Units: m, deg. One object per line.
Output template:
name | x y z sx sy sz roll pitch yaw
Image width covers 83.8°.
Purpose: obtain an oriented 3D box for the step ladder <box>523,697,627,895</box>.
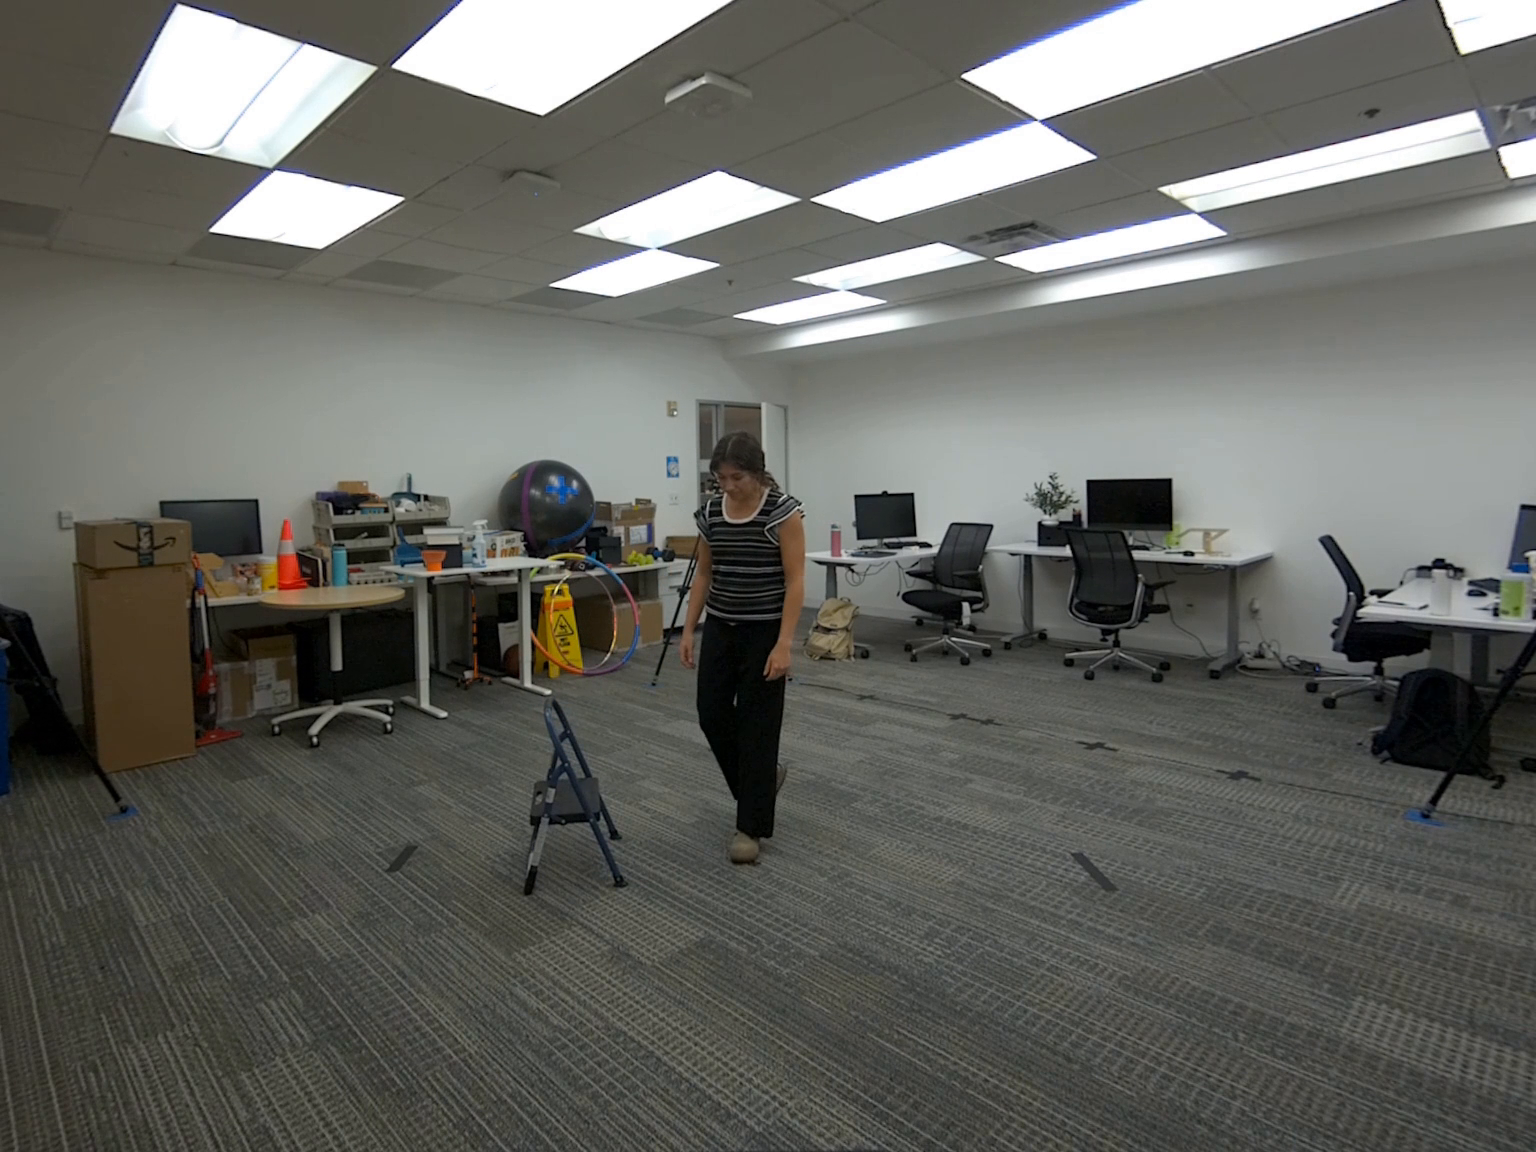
step ladder | -0.706 0.757 3.107 0.346 0.604 0.437 -2 4 -12
